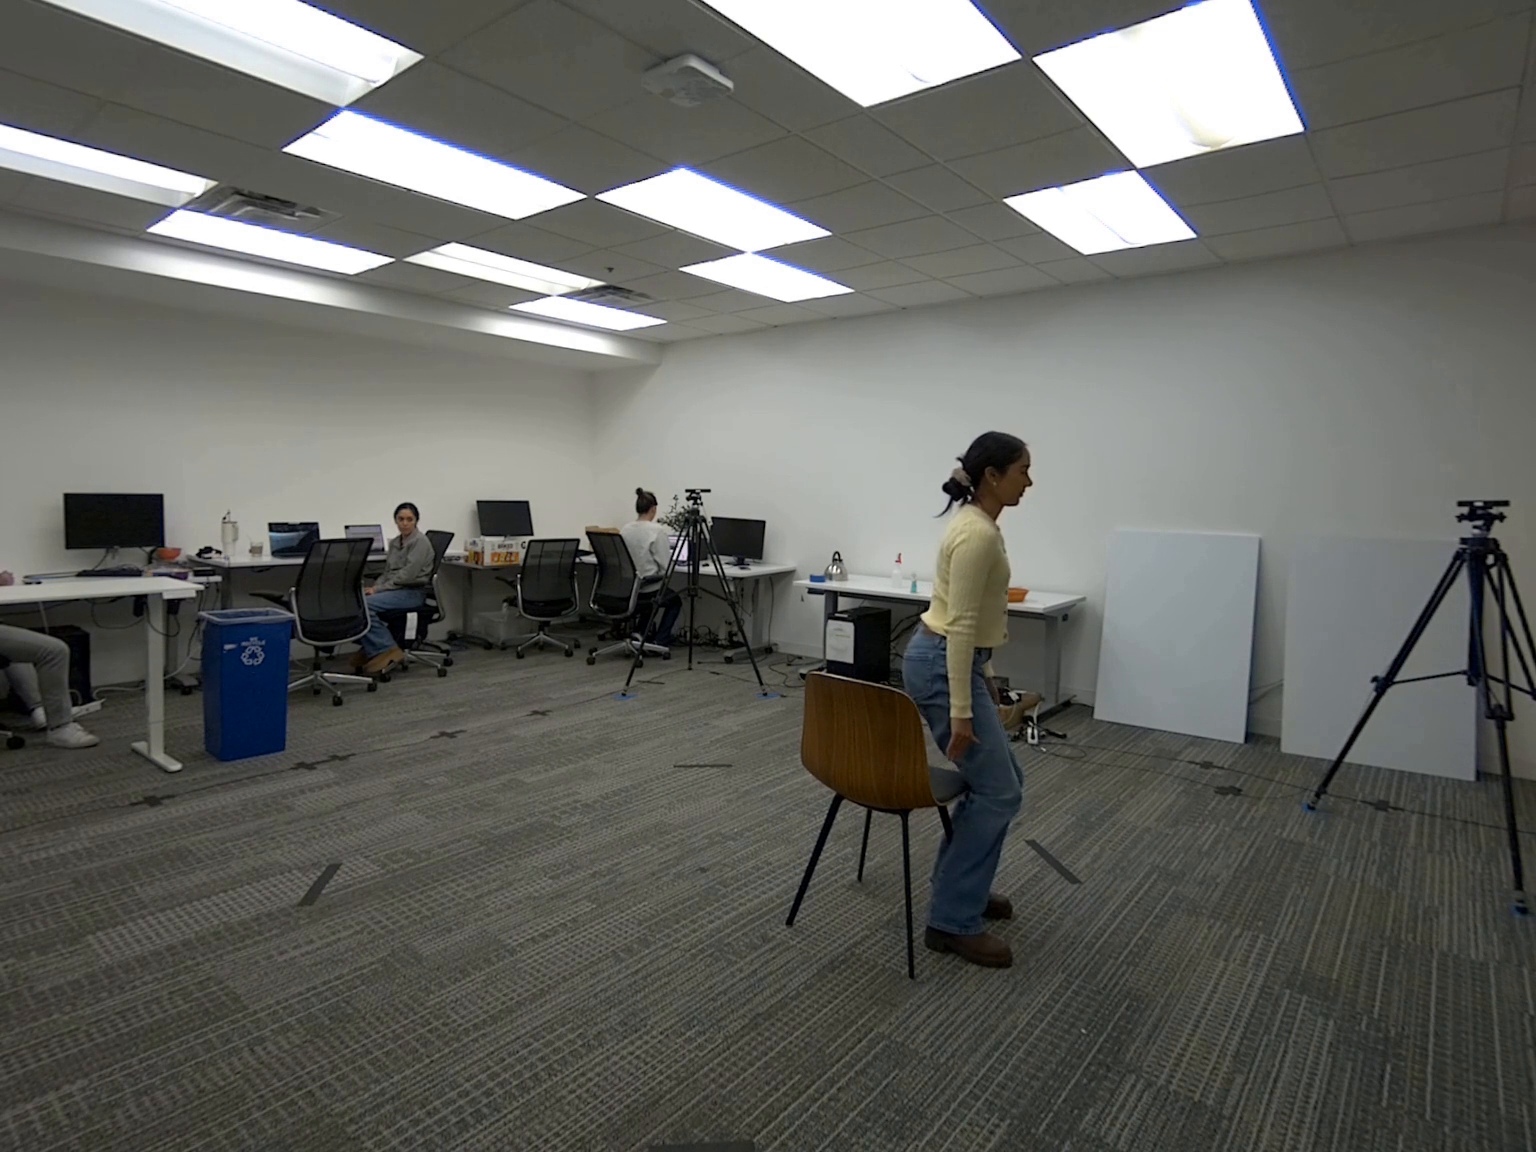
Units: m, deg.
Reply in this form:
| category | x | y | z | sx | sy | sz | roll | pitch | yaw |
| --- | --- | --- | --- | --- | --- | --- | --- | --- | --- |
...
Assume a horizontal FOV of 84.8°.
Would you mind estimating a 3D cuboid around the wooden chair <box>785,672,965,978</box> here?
| category | x | y | z | sx | sy | sz | roll | pitch | yaw |
| --- | --- | --- | --- | --- | --- | --- | --- | --- | --- |
| wooden chair | 0.378 | 0.695 | 2.740 | 0.494 | 0.872 | 0.509 | 4 | 8 | 38 |
